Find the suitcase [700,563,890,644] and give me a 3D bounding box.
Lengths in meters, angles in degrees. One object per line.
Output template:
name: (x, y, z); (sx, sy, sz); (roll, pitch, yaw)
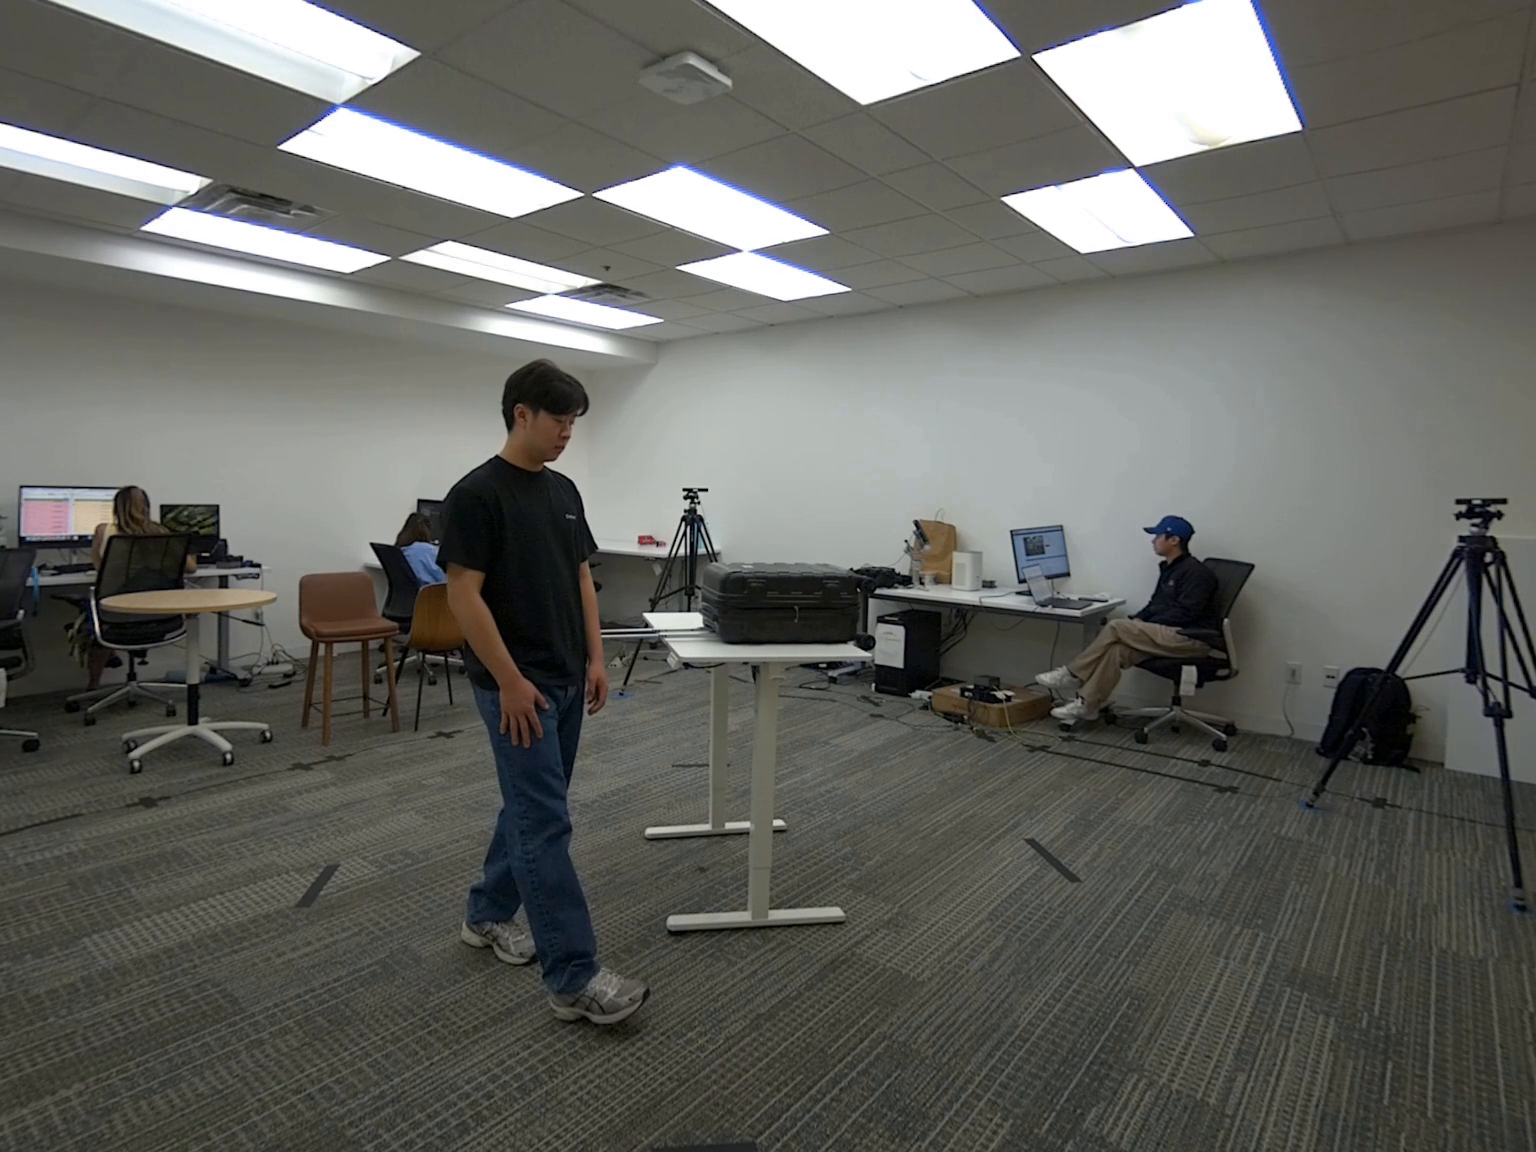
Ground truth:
suitcase: (-0.151, 0.086, 2.889); (0.963, 0.256, 0.391); (2, 5, -15)
